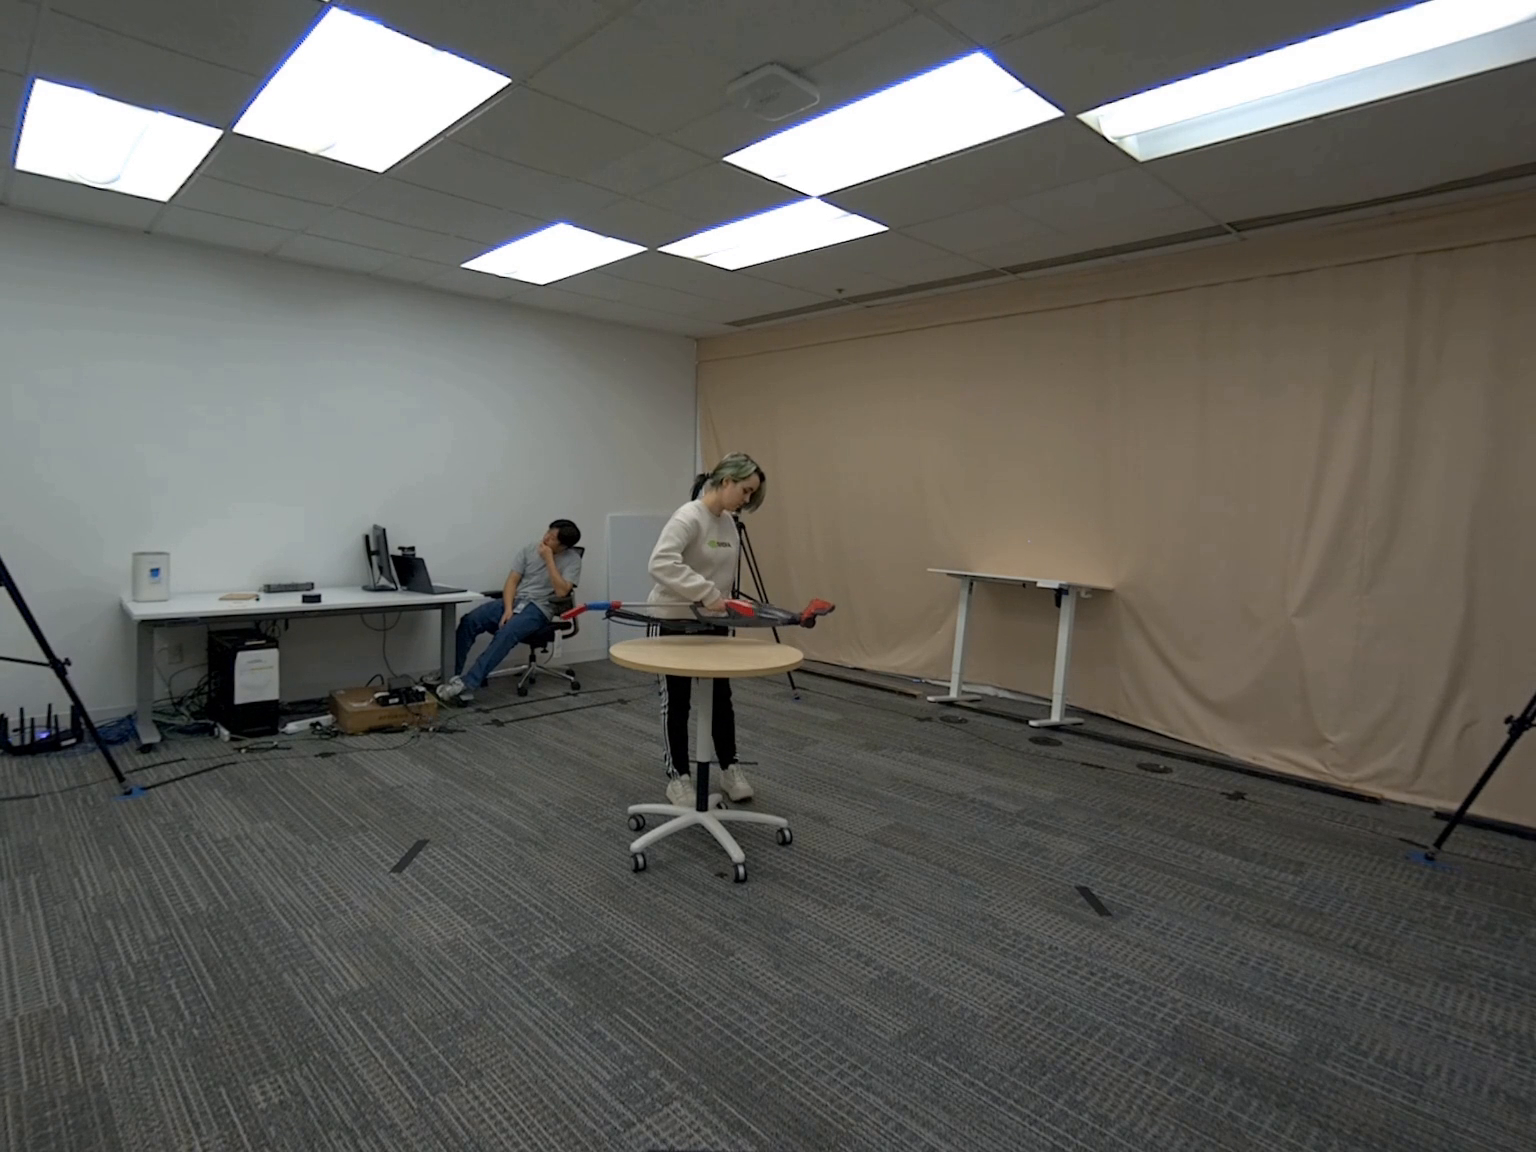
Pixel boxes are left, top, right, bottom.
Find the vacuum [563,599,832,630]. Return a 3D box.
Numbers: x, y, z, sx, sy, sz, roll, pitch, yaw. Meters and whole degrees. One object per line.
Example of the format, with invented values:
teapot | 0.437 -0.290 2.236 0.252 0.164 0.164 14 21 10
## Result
vacuum | -0.313 0.171 3.490 1.039 0.143 0.256 -1 5 -12
